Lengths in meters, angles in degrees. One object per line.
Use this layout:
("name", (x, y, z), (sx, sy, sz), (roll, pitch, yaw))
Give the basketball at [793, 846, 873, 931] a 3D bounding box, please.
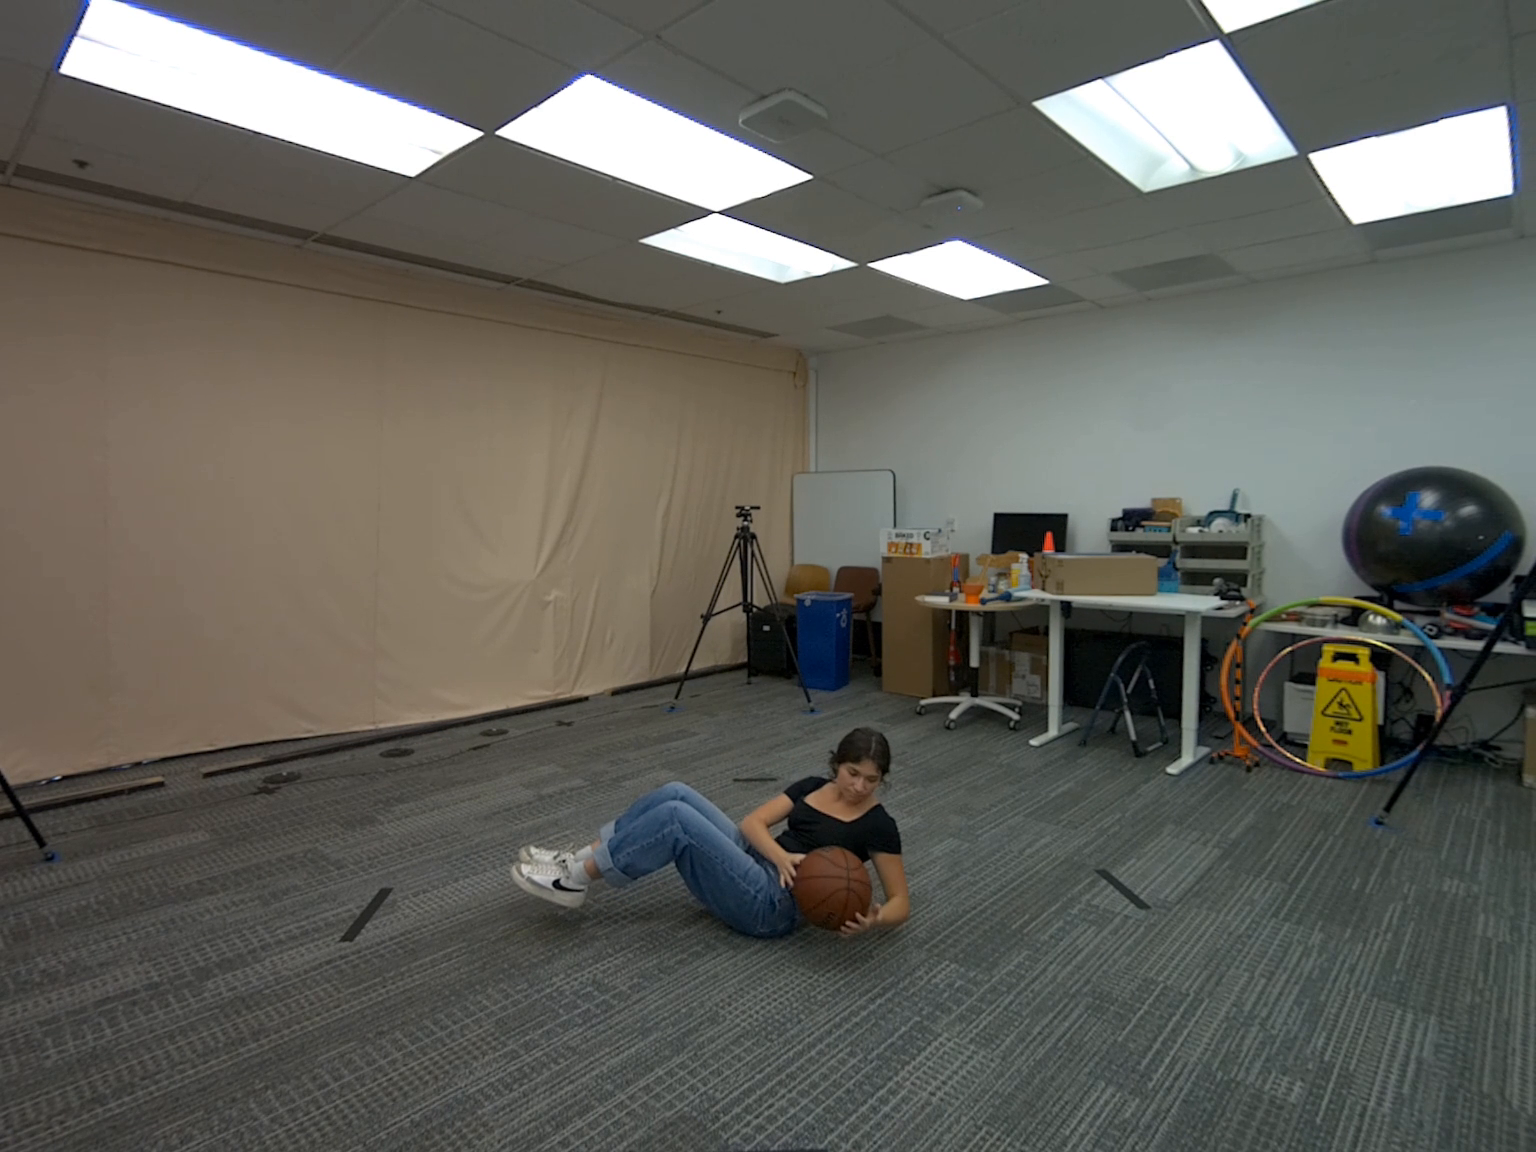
("basketball", (0.184, 0.942, 2.562), (0.236, 0.235, 0.237), (0, 4, -2))
